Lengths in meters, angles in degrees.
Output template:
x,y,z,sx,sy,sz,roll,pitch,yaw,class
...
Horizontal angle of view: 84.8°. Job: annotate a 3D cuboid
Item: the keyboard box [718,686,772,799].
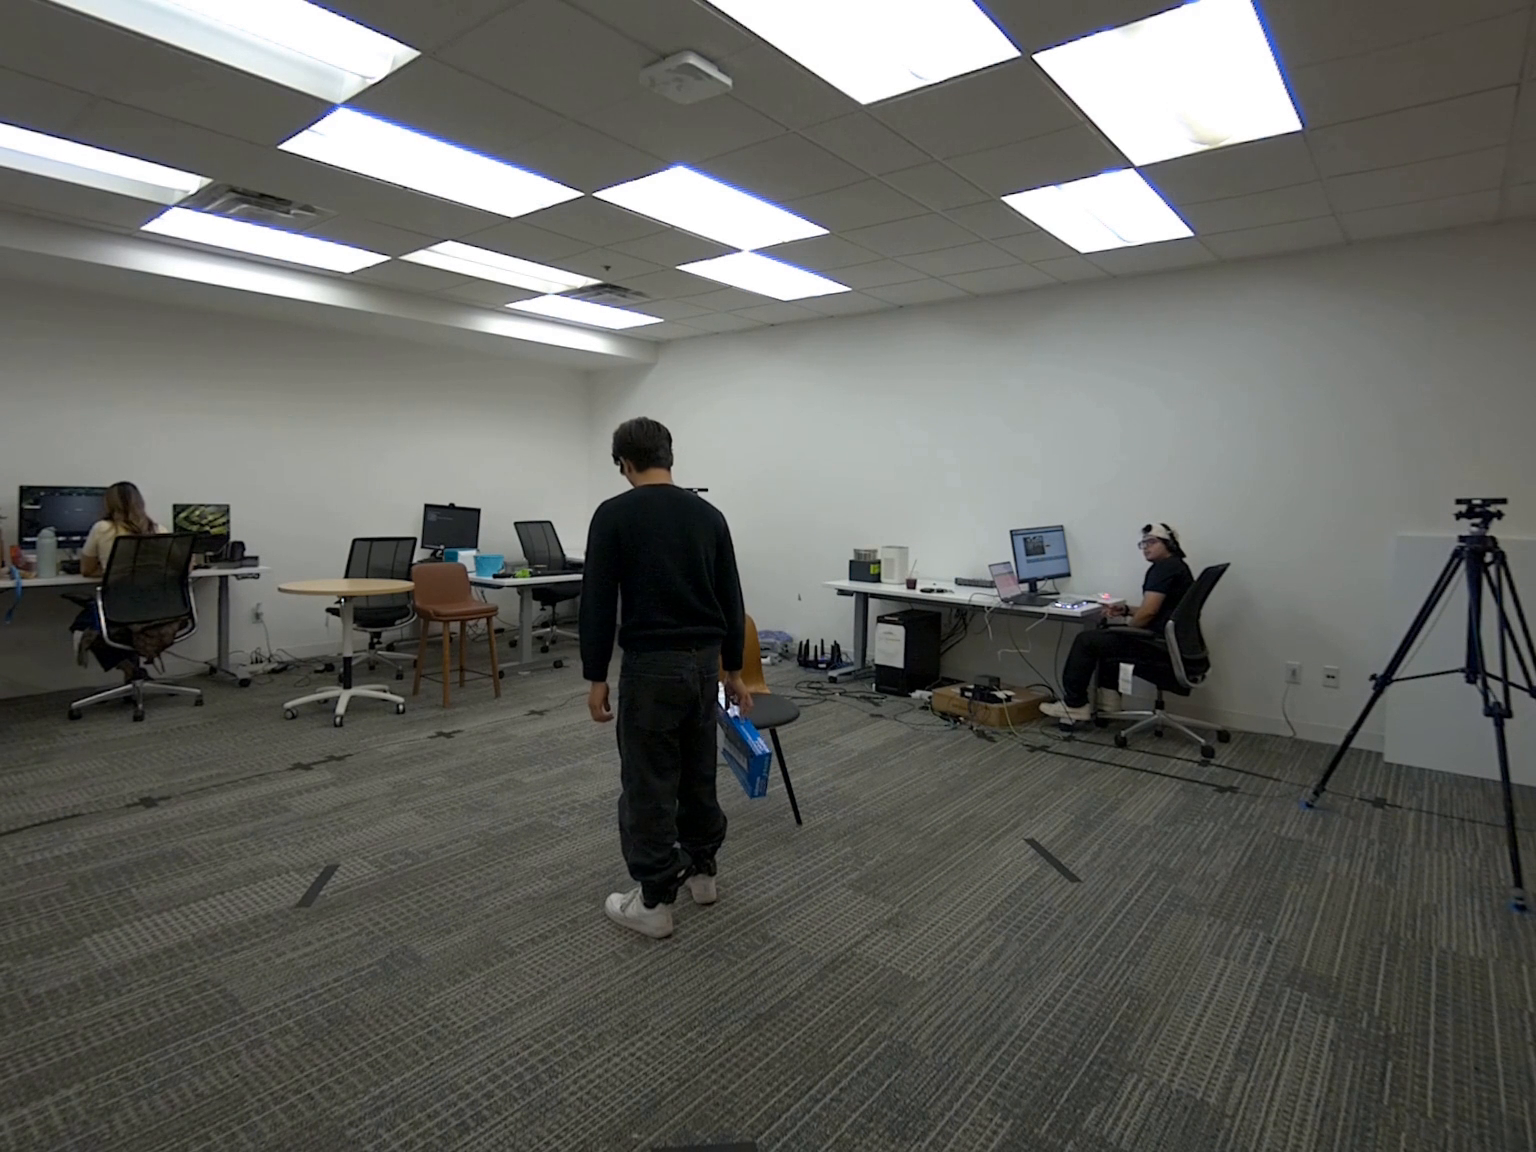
x,y,z,sx,sy,sz,roll,pitch,yaw,class
-0.127,0.550,2.913,0.058,0.173,0.454,-3,25,-26,keyboard box
